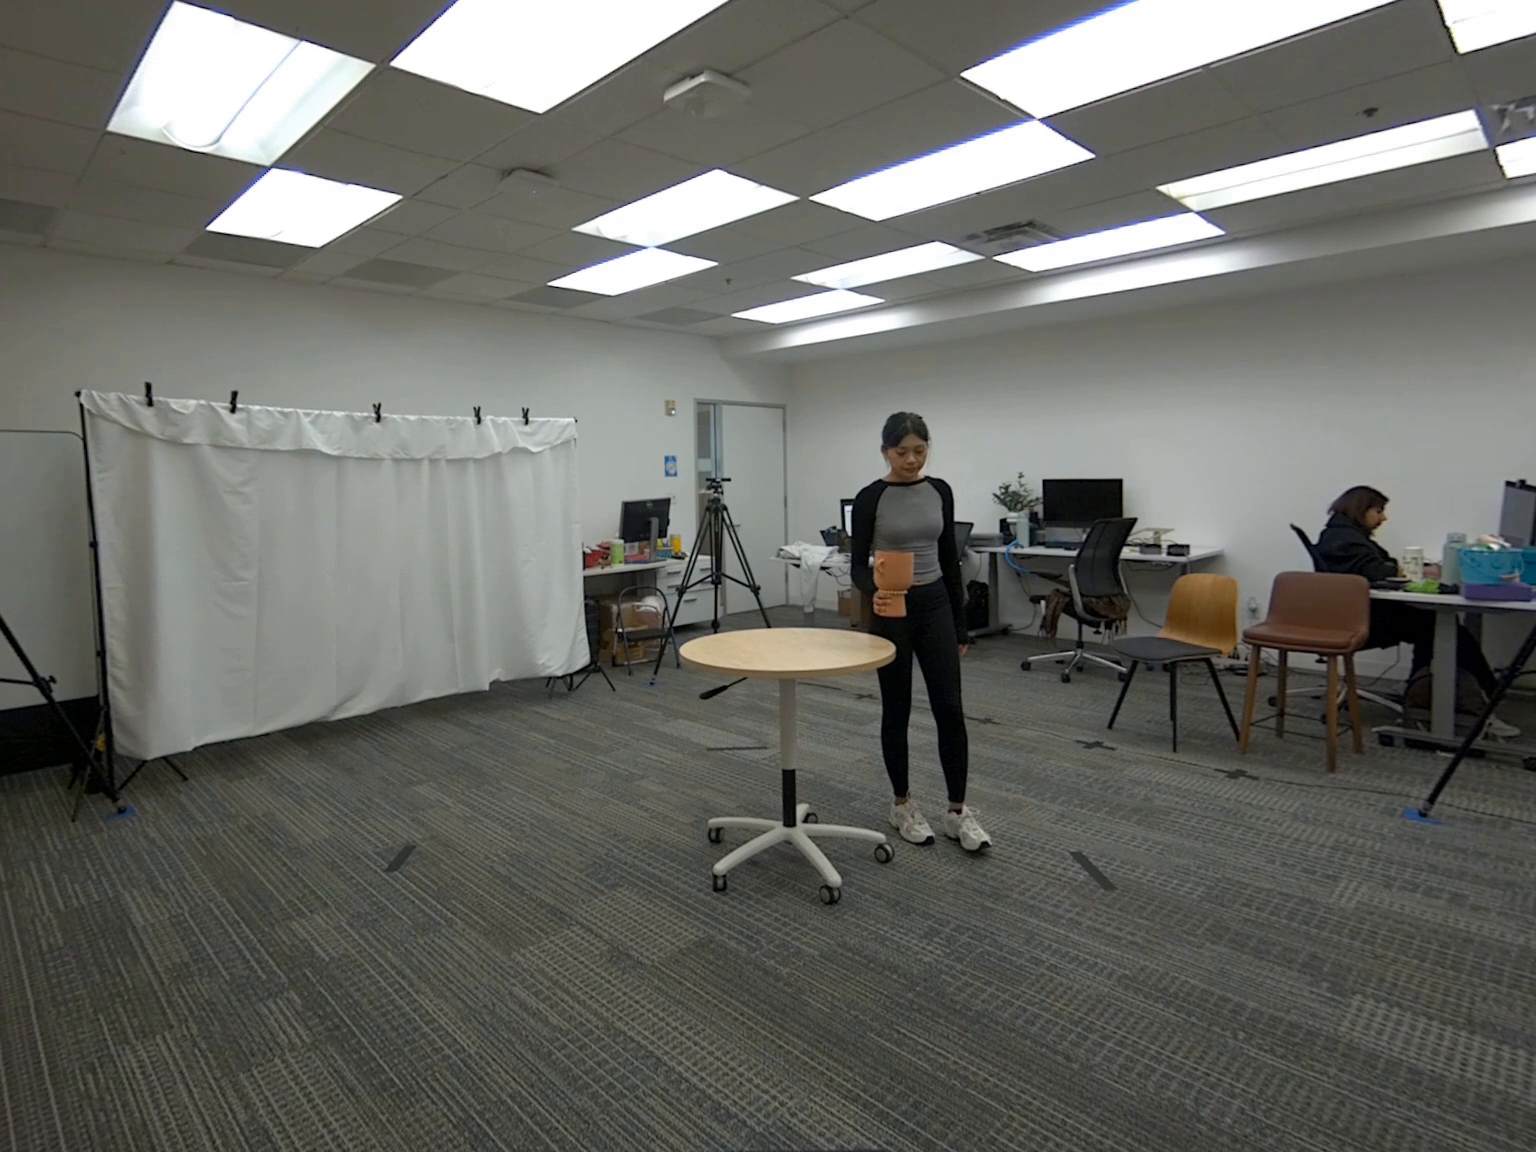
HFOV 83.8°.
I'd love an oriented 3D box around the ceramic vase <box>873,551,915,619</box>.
[{"bbox_3d":[0.436,0.029,2.982,0.158,0.219,0.135,3,3,-5],"label":"ceramic vase"}]
